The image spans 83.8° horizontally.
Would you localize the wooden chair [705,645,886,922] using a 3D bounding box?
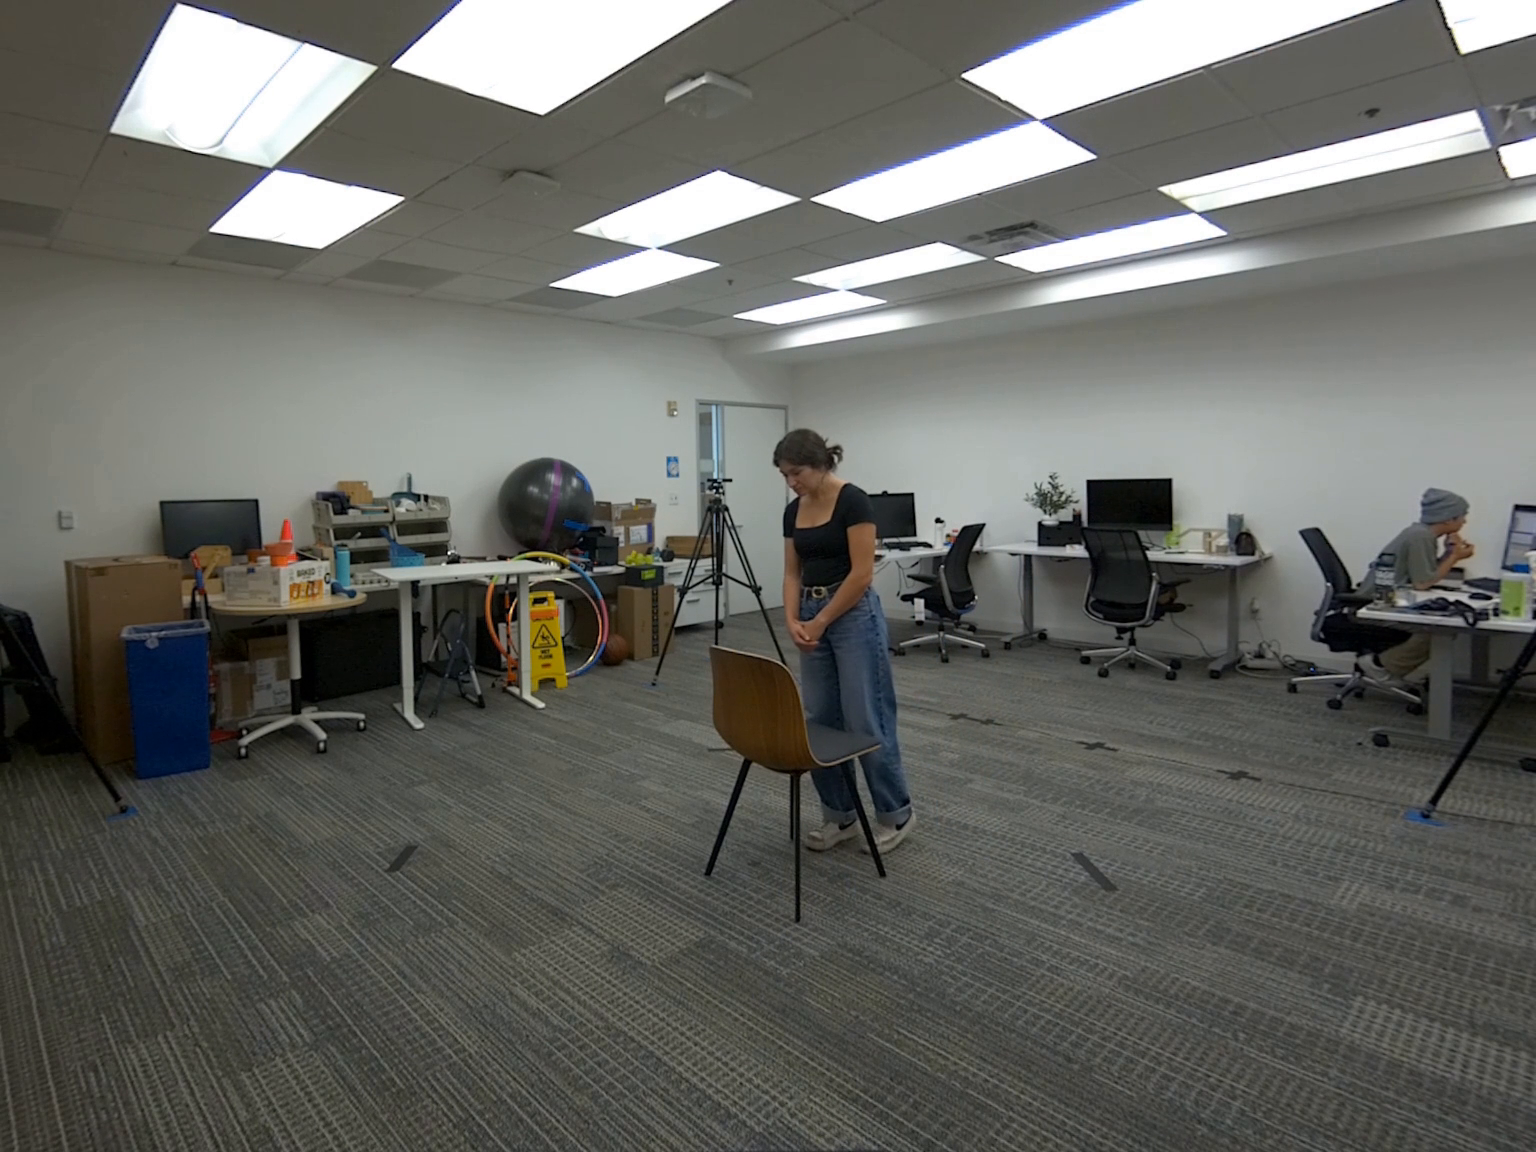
[{"bbox_3d":[0.092,0.633,2.968,0.511,0.872,0.493,-10,10,-43],"label":"wooden chair"}]
